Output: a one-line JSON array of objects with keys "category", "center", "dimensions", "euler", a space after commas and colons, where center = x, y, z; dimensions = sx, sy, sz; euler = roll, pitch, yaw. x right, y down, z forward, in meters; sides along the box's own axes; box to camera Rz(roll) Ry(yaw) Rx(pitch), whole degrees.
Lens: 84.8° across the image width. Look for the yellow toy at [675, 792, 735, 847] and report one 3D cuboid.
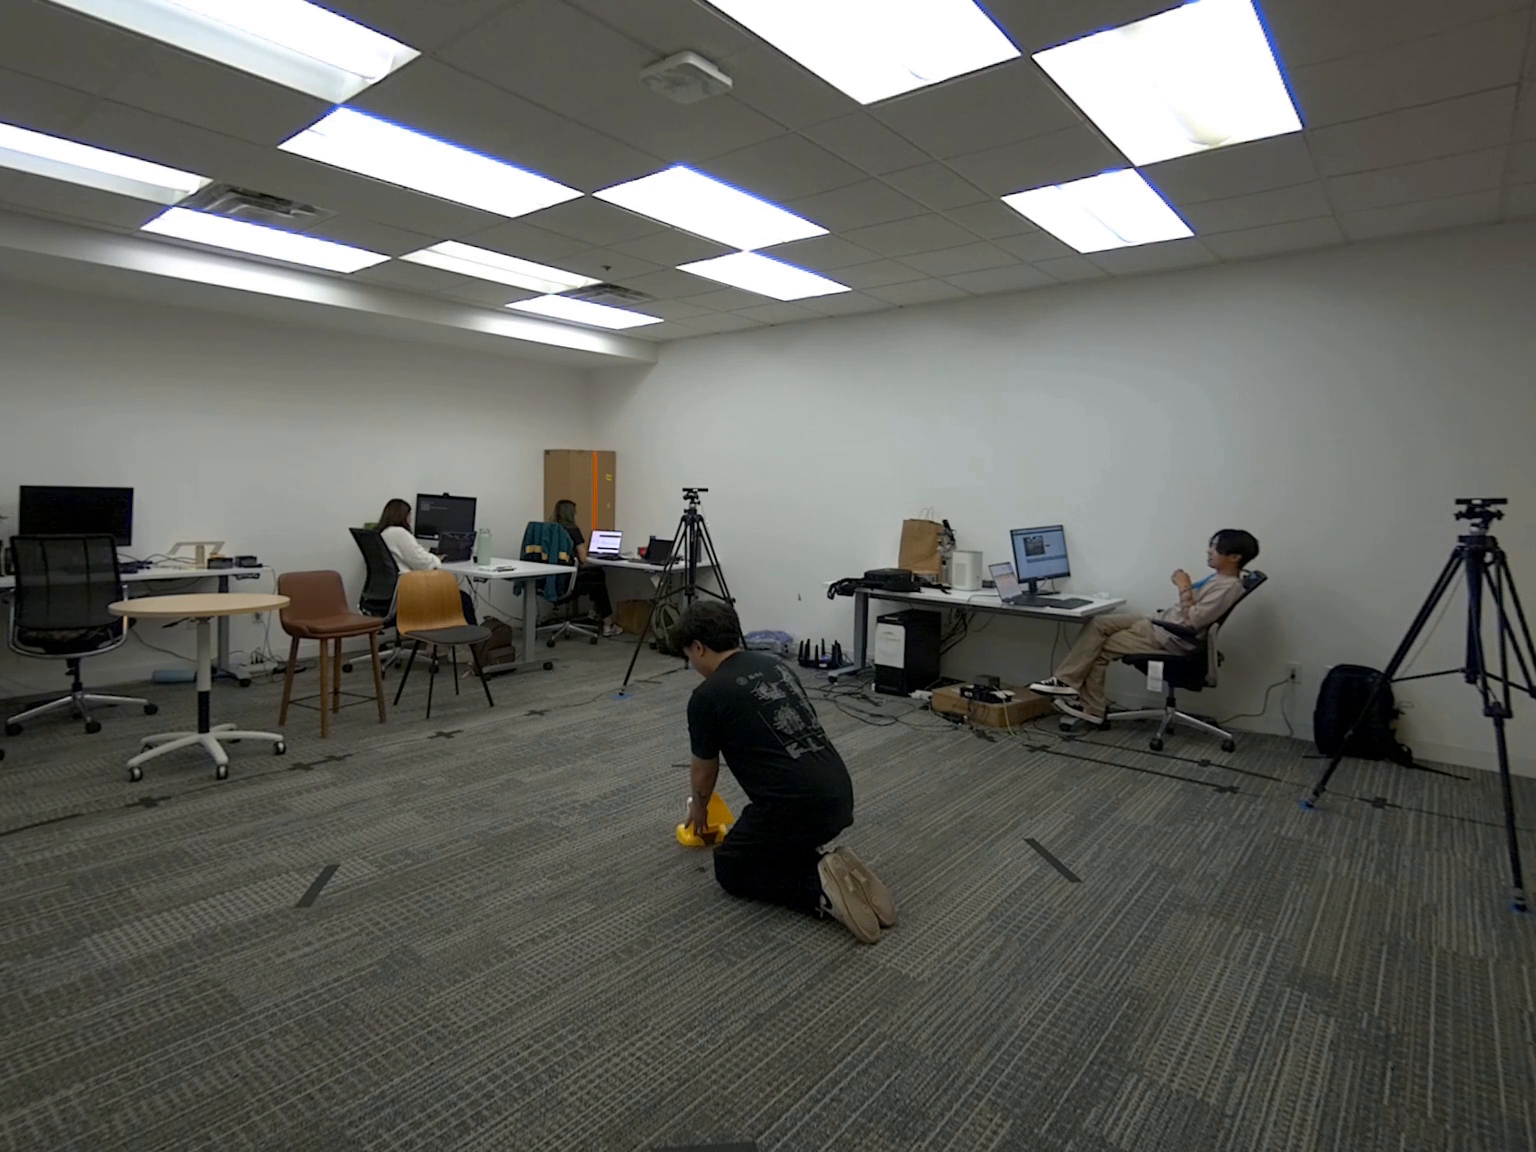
[{"category": "yellow toy", "center": [-0.272, 0.930, 3.388], "dimensions": [0.199, 0.230, 0.198], "euler": [0, 2, -28]}]
